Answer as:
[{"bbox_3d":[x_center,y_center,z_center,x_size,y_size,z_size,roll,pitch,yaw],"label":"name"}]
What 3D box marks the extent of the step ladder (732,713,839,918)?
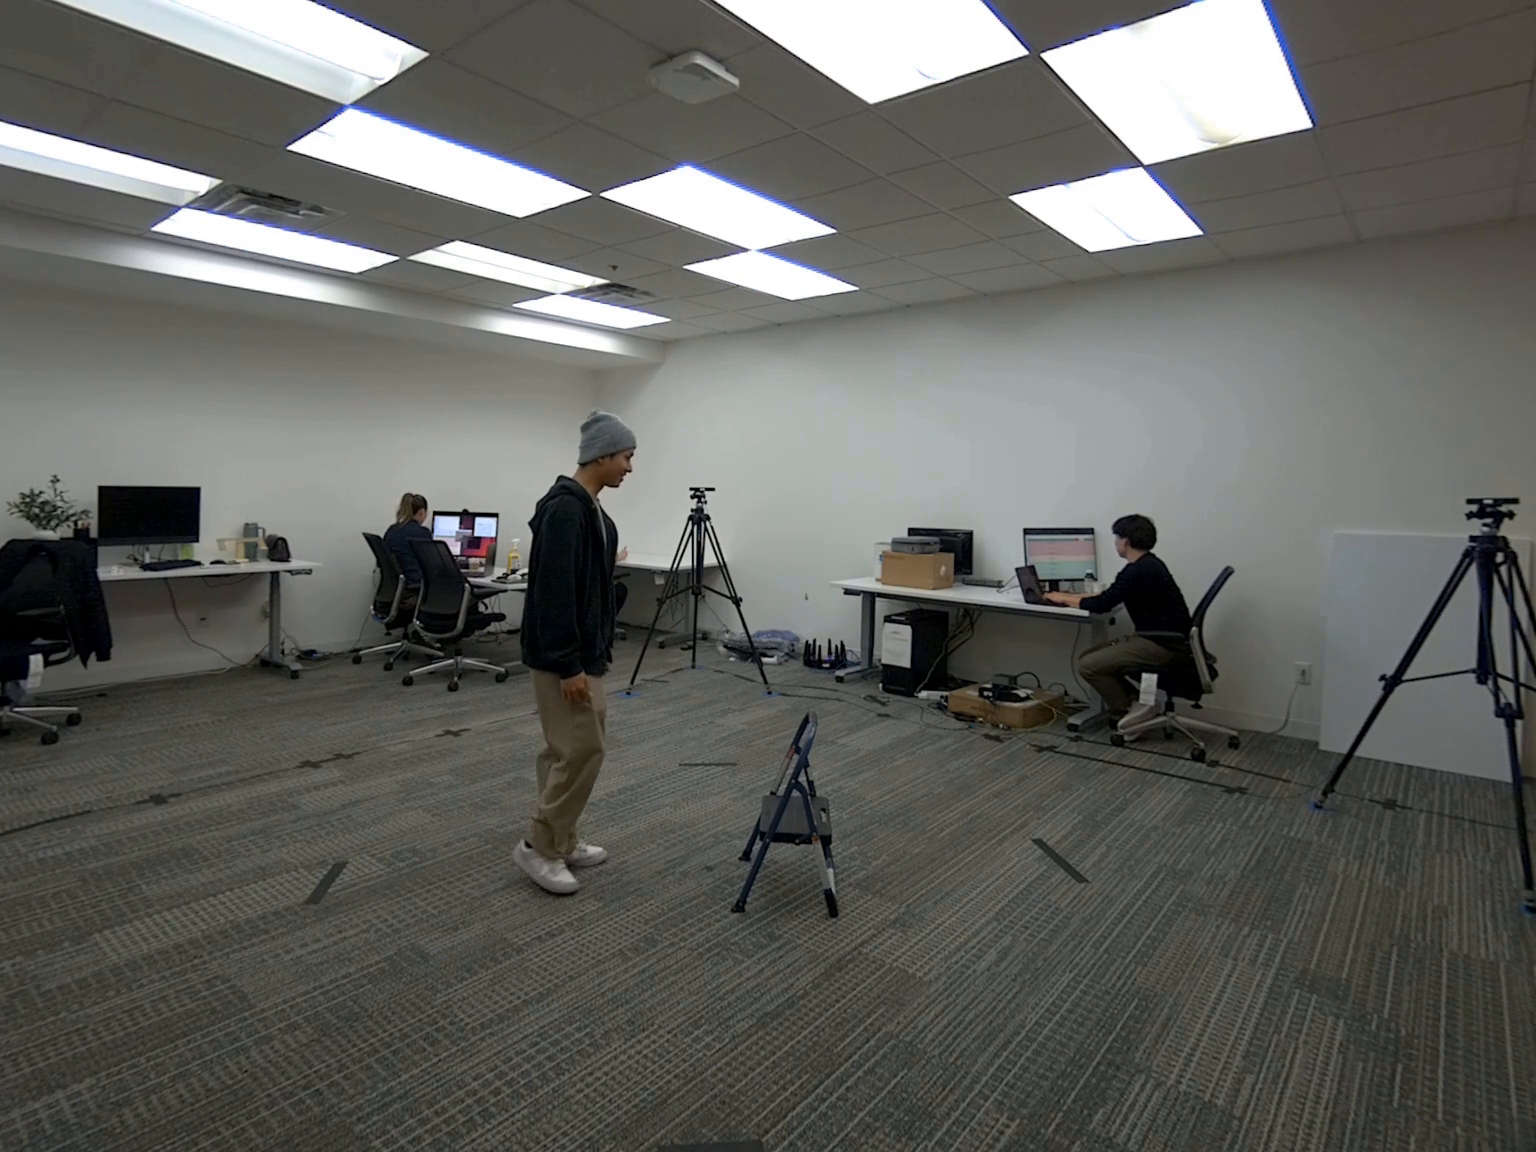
[{"bbox_3d":[0.068,0.787,2.963,0.351,0.605,0.430,1,3,3],"label":"step ladder"}]
